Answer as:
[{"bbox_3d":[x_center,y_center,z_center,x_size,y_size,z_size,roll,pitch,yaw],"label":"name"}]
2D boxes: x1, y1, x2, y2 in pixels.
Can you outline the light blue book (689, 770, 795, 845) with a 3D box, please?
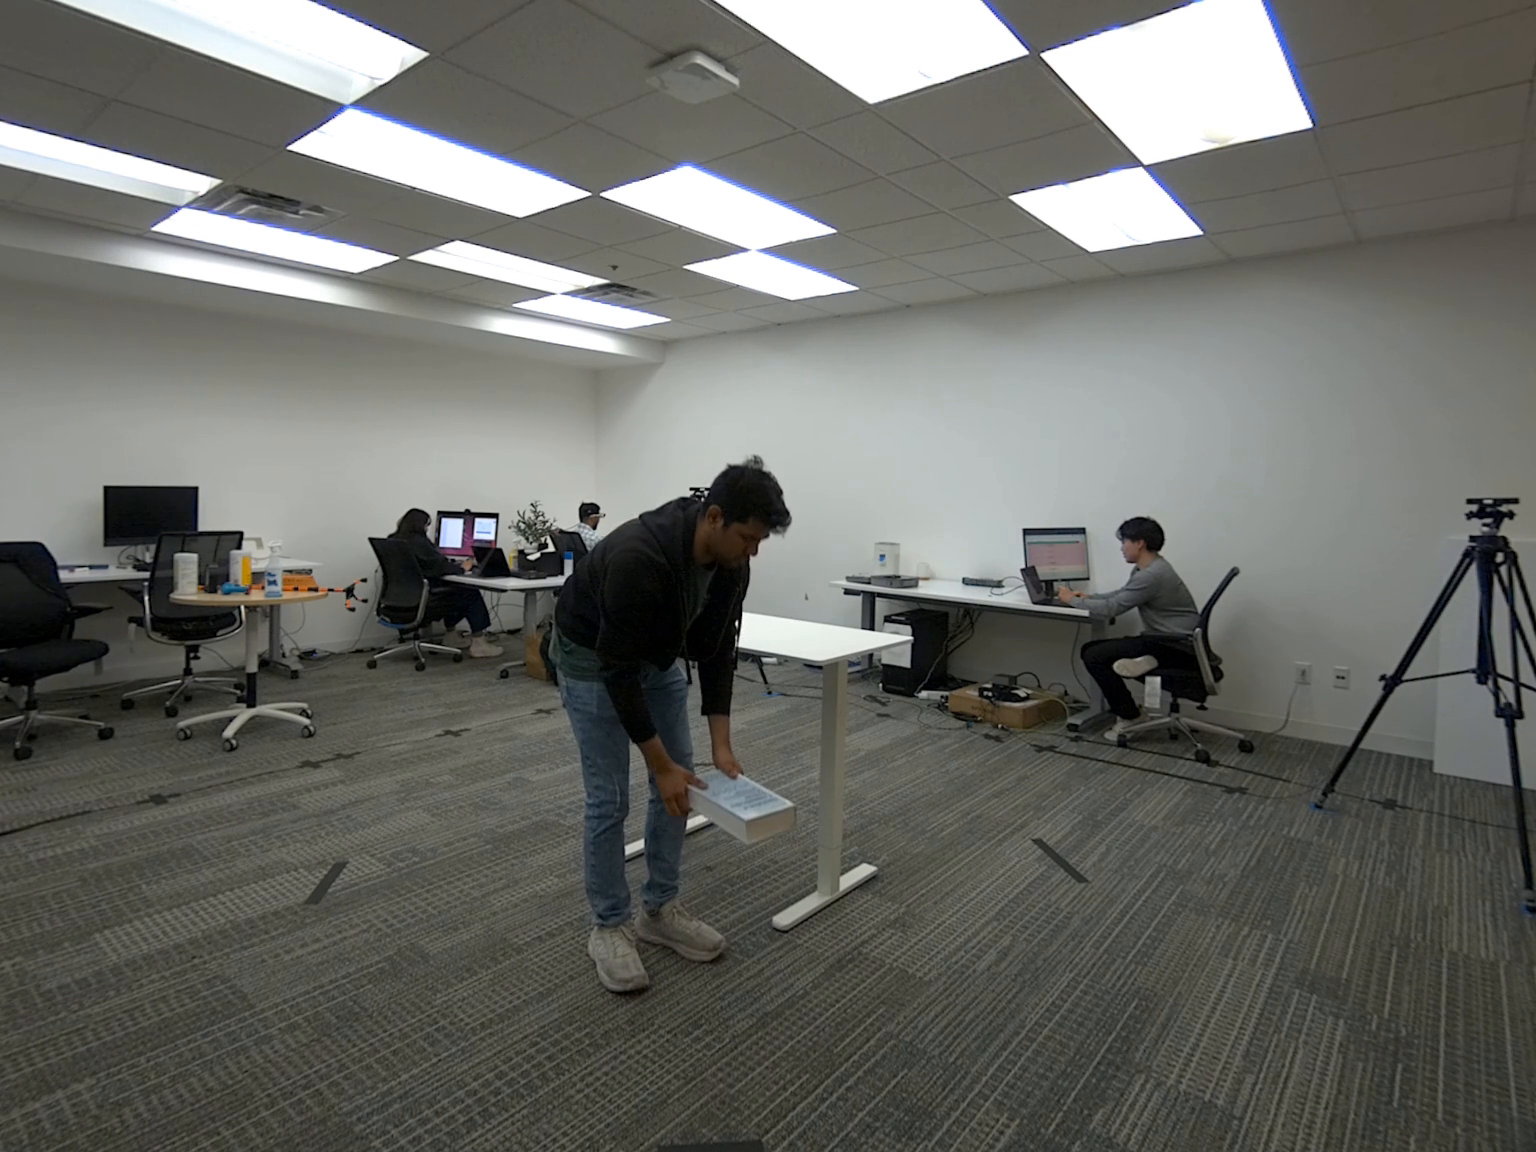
[{"bbox_3d":[-0.073,0.596,2.220,0.185,0.058,0.271,0,10,-37],"label":"light blue book"}]
